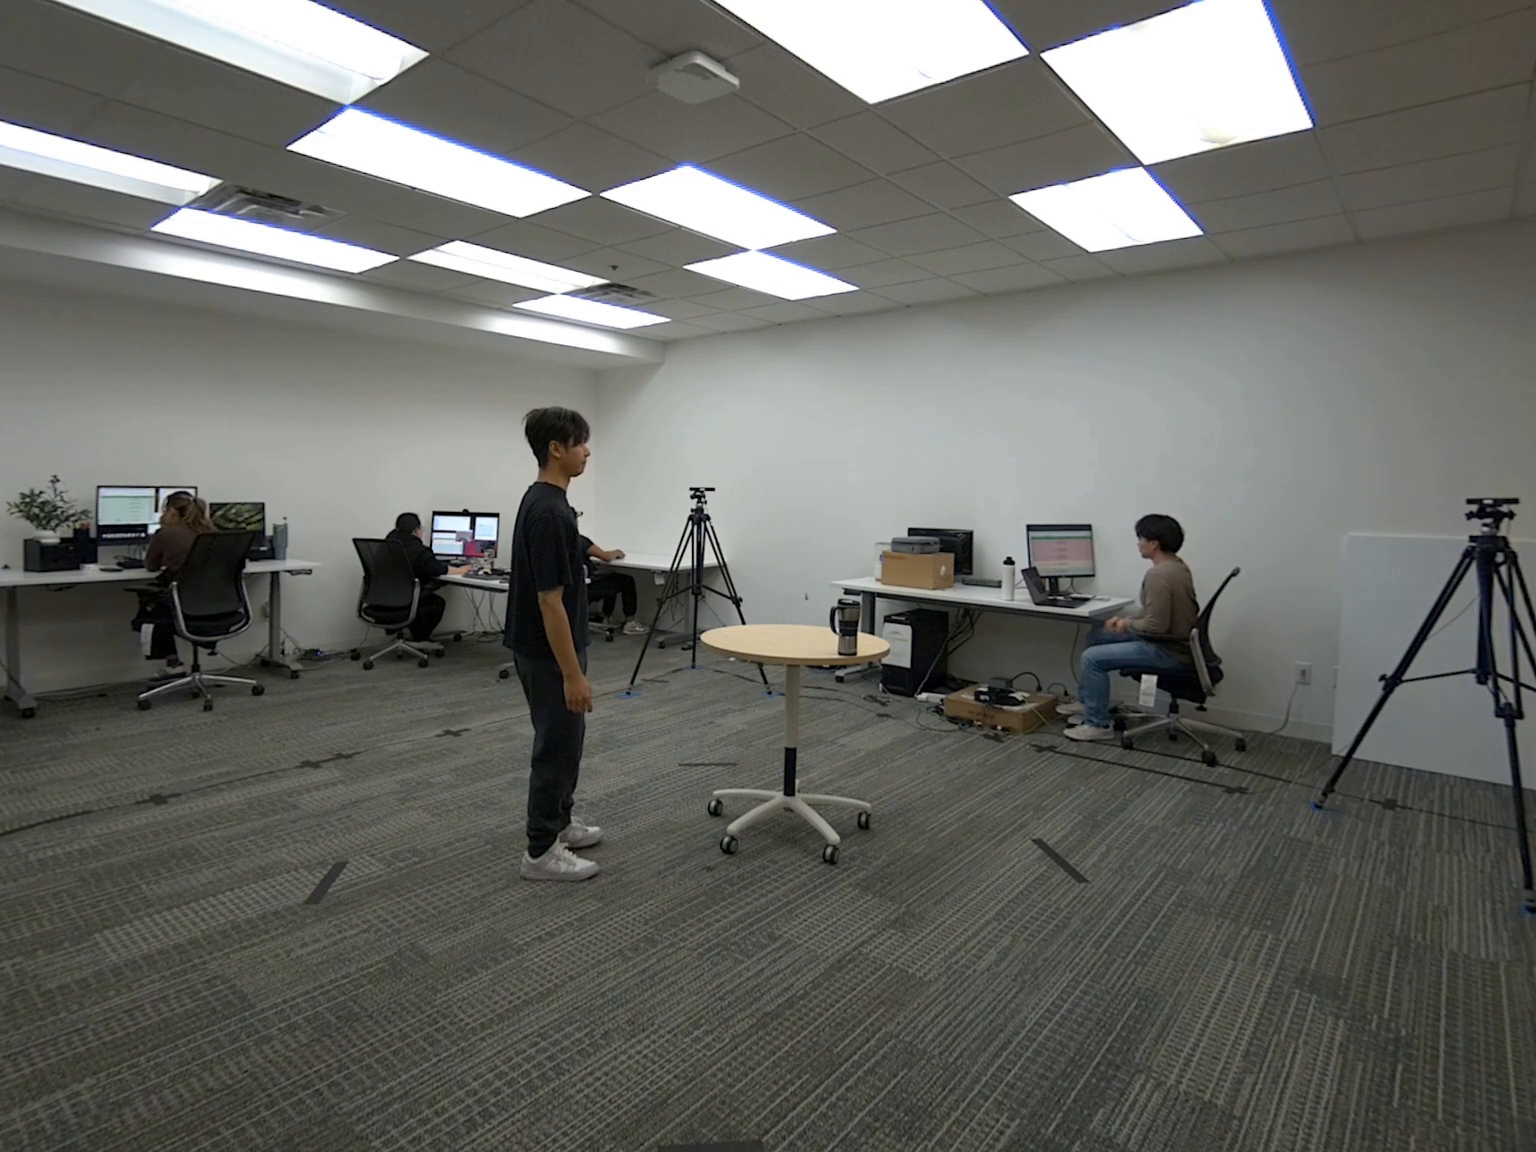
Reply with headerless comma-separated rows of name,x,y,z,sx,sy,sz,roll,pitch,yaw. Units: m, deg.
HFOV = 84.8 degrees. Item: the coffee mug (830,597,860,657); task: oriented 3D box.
coffee mug,0.274,0.190,3.172,0.126,0.201,0.085,9,9,35
